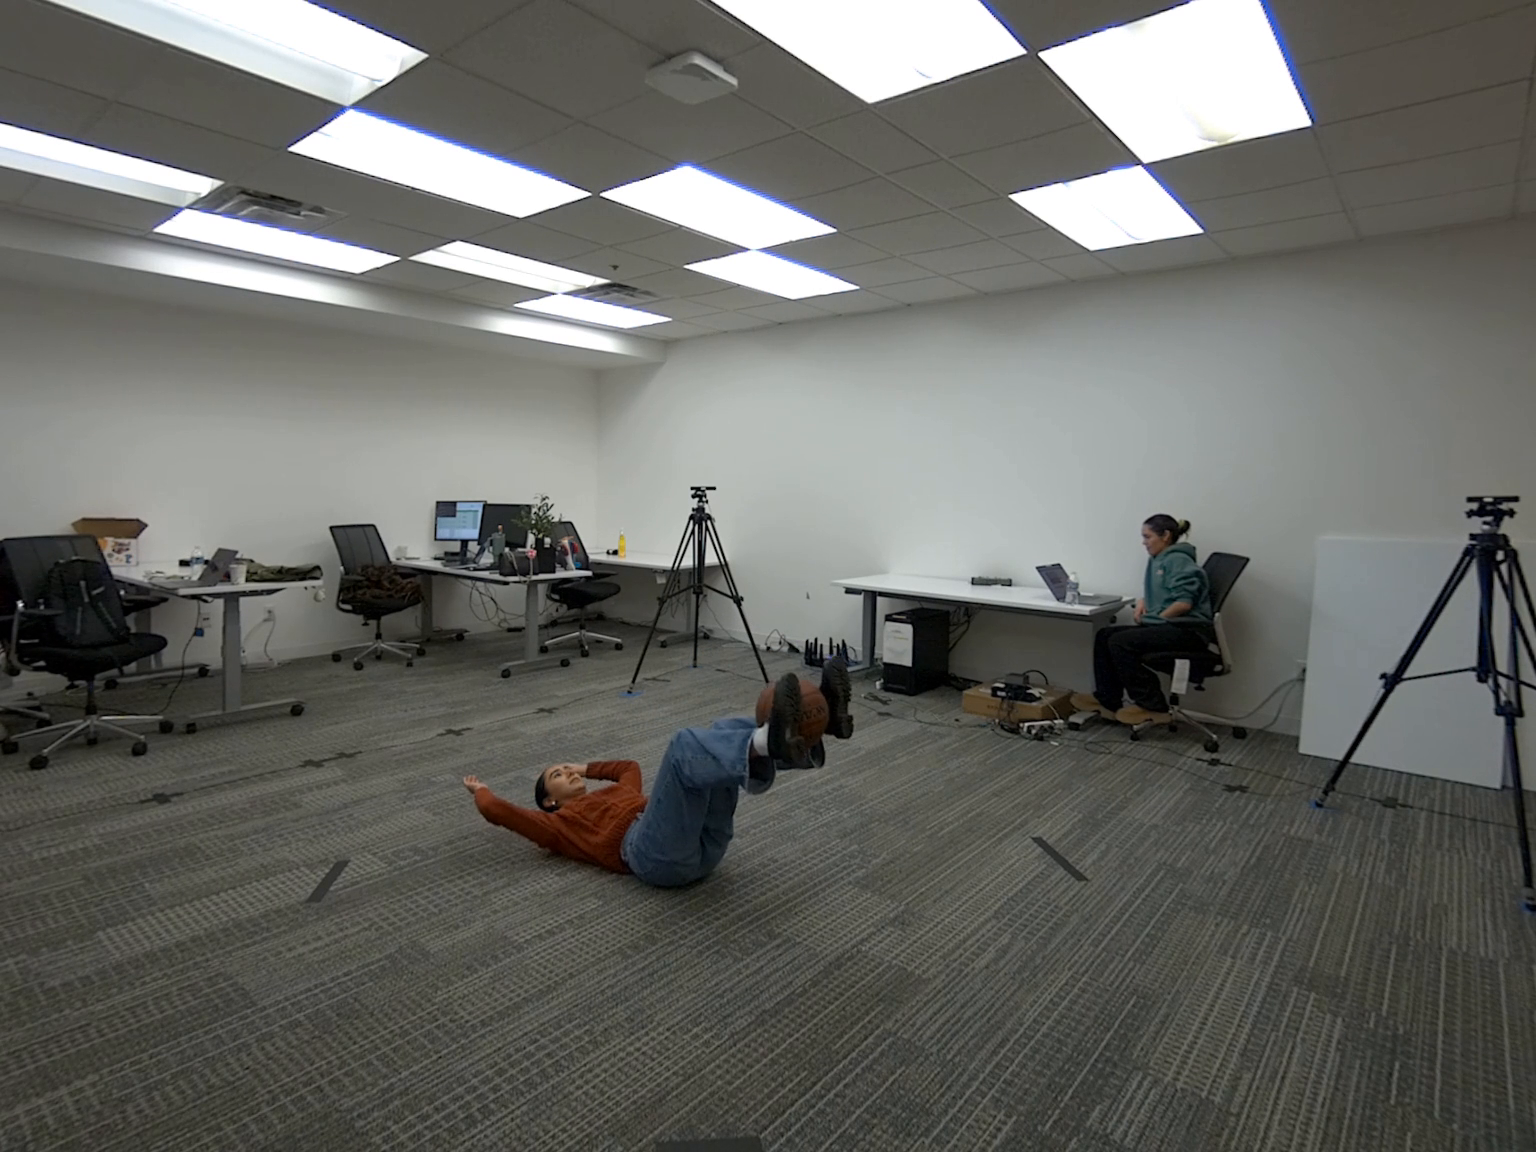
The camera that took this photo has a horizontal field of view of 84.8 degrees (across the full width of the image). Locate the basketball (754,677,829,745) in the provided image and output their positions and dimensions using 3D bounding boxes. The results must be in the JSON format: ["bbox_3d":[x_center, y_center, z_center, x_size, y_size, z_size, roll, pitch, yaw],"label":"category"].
[{"bbox_3d":[0.075,0.446,2.744,0.236,0.235,0.237,-3,3,-2],"label":"basketball"}]
